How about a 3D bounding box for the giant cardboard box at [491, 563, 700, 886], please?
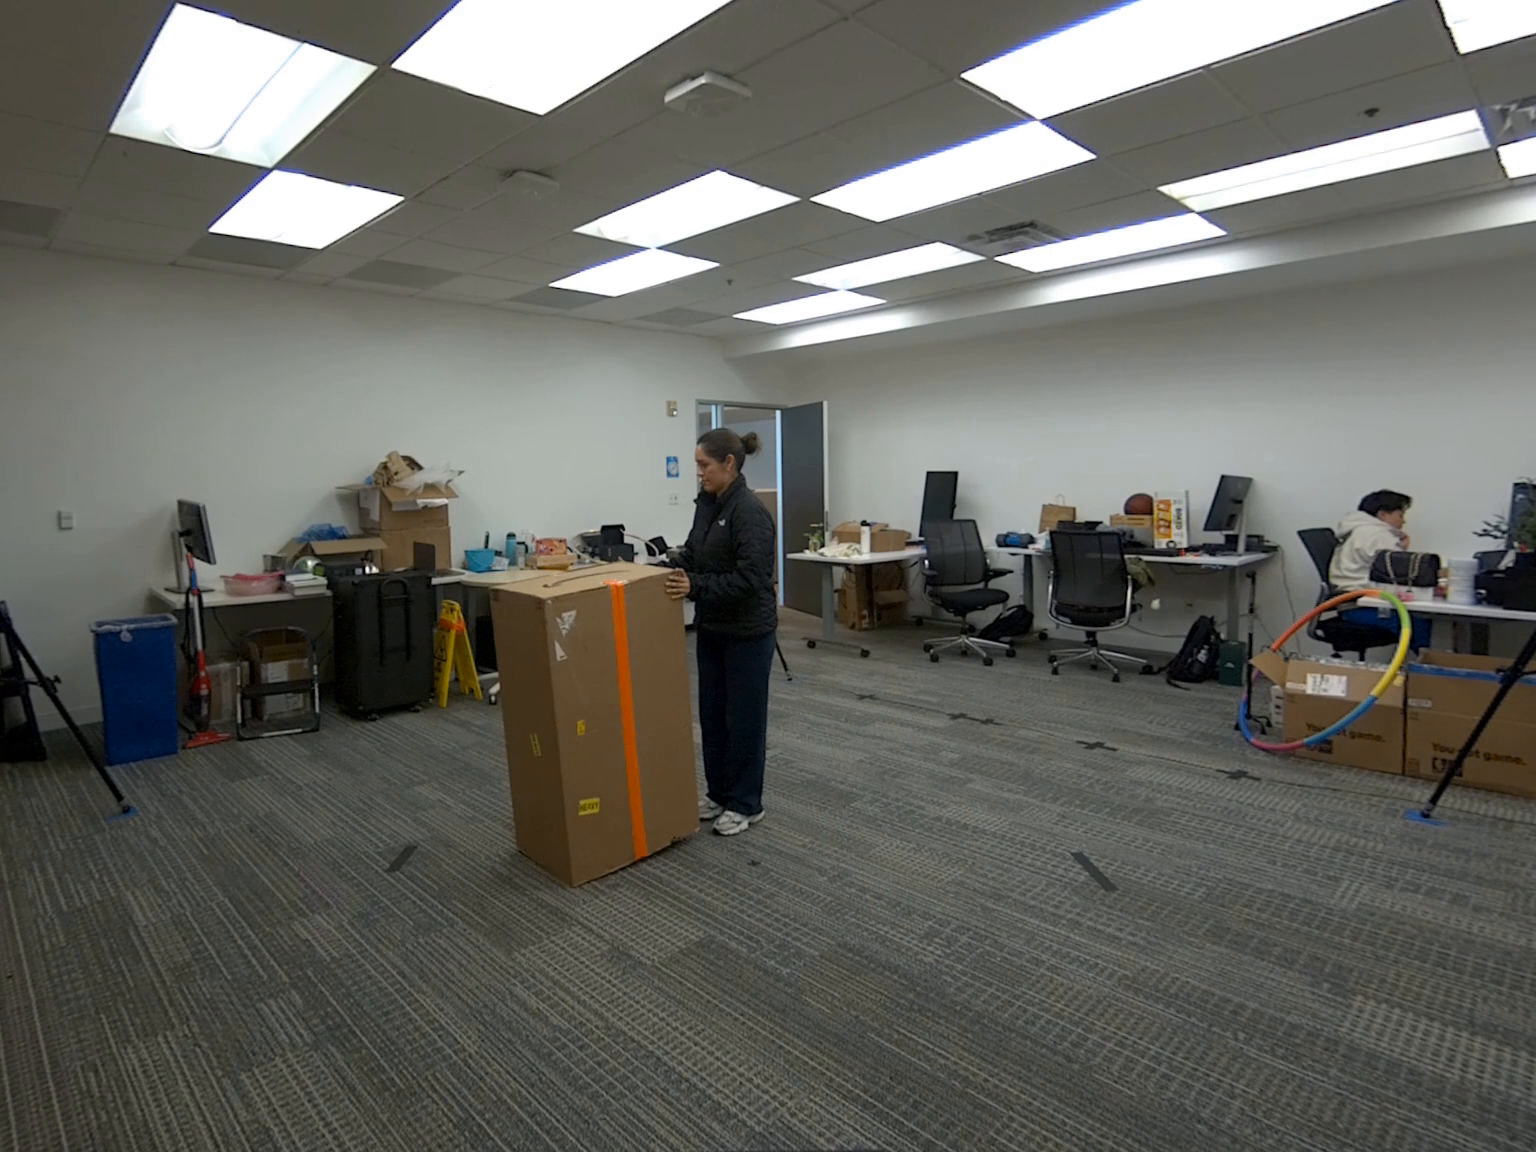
[{"bbox_3d":[-0.647,0.515,3.220,0.564,1.018,0.439,-11,10,-41],"label":"giant cardboard box"}]
